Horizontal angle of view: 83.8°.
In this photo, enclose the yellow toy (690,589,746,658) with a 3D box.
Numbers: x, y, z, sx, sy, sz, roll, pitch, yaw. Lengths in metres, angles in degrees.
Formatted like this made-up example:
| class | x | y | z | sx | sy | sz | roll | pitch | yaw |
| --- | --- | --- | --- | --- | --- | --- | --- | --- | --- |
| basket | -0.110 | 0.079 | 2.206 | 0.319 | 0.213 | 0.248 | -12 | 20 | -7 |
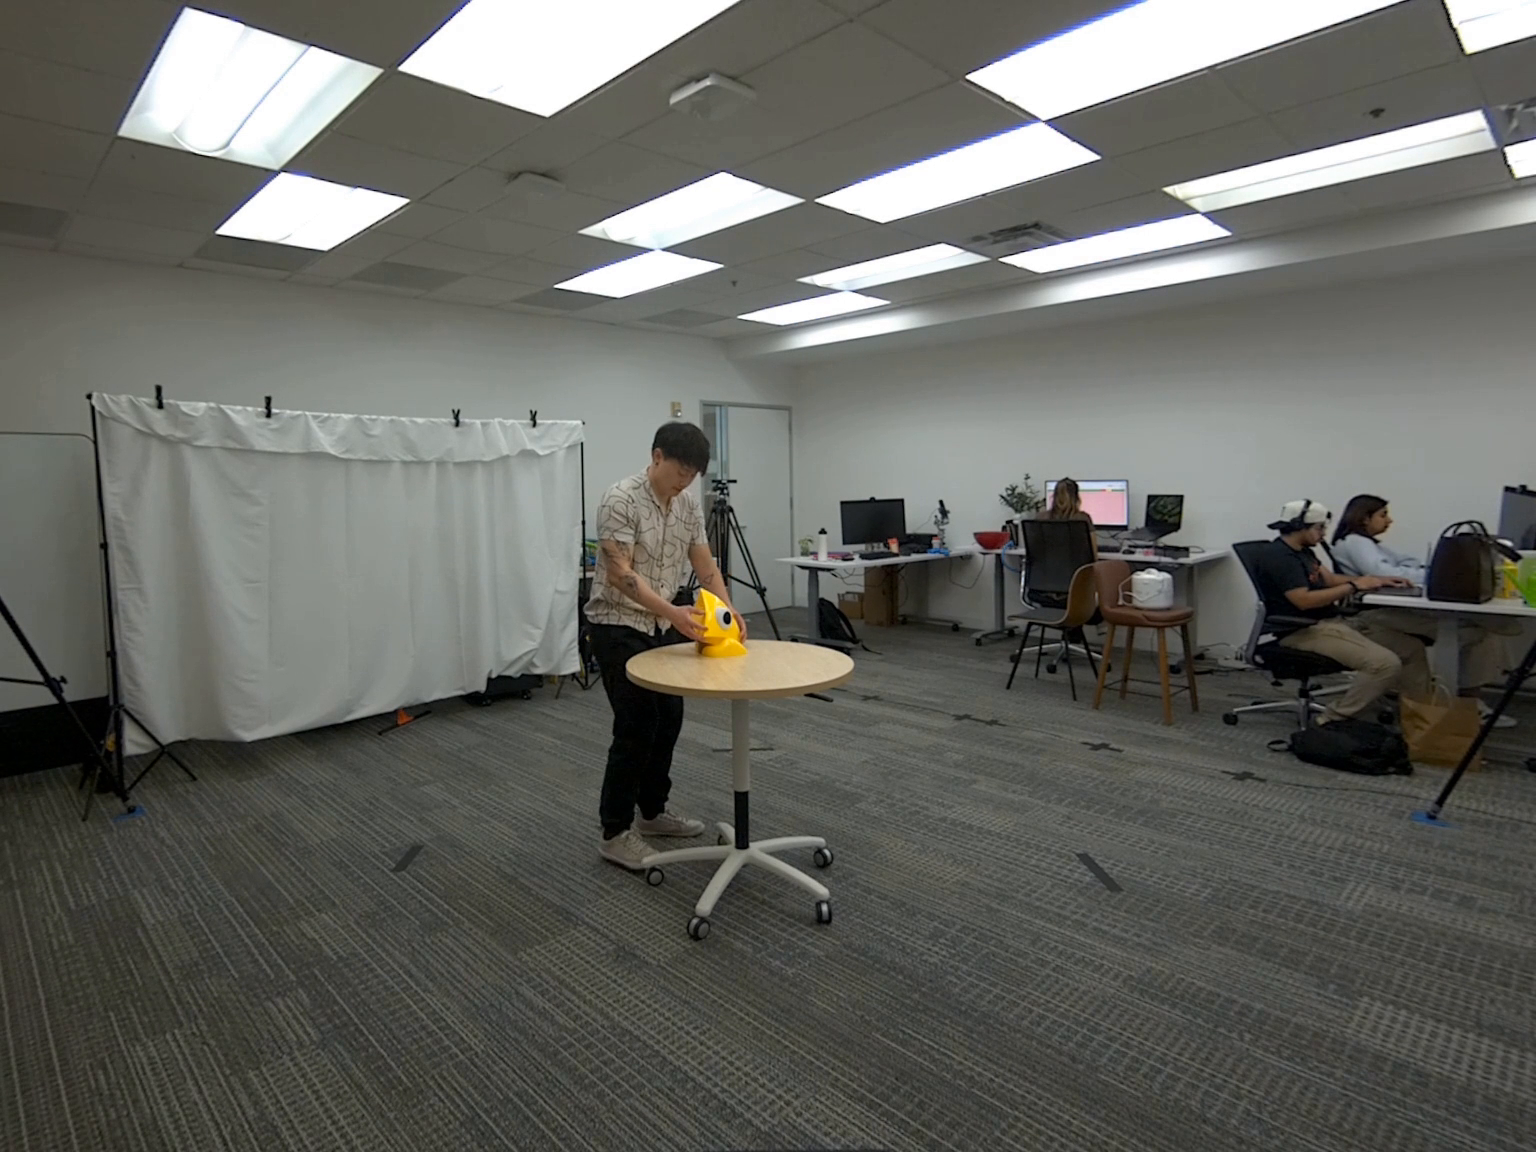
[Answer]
| class | x | y | z | sx | sy | sz | roll | pitch | yaw |
| --- | --- | --- | --- | --- | --- | --- | --- | --- | --- |
| yellow toy | -0.179 | 0.160 | 3.050 | 0.189 | 0.230 | 0.209 | -4 | 5 | -22 |
